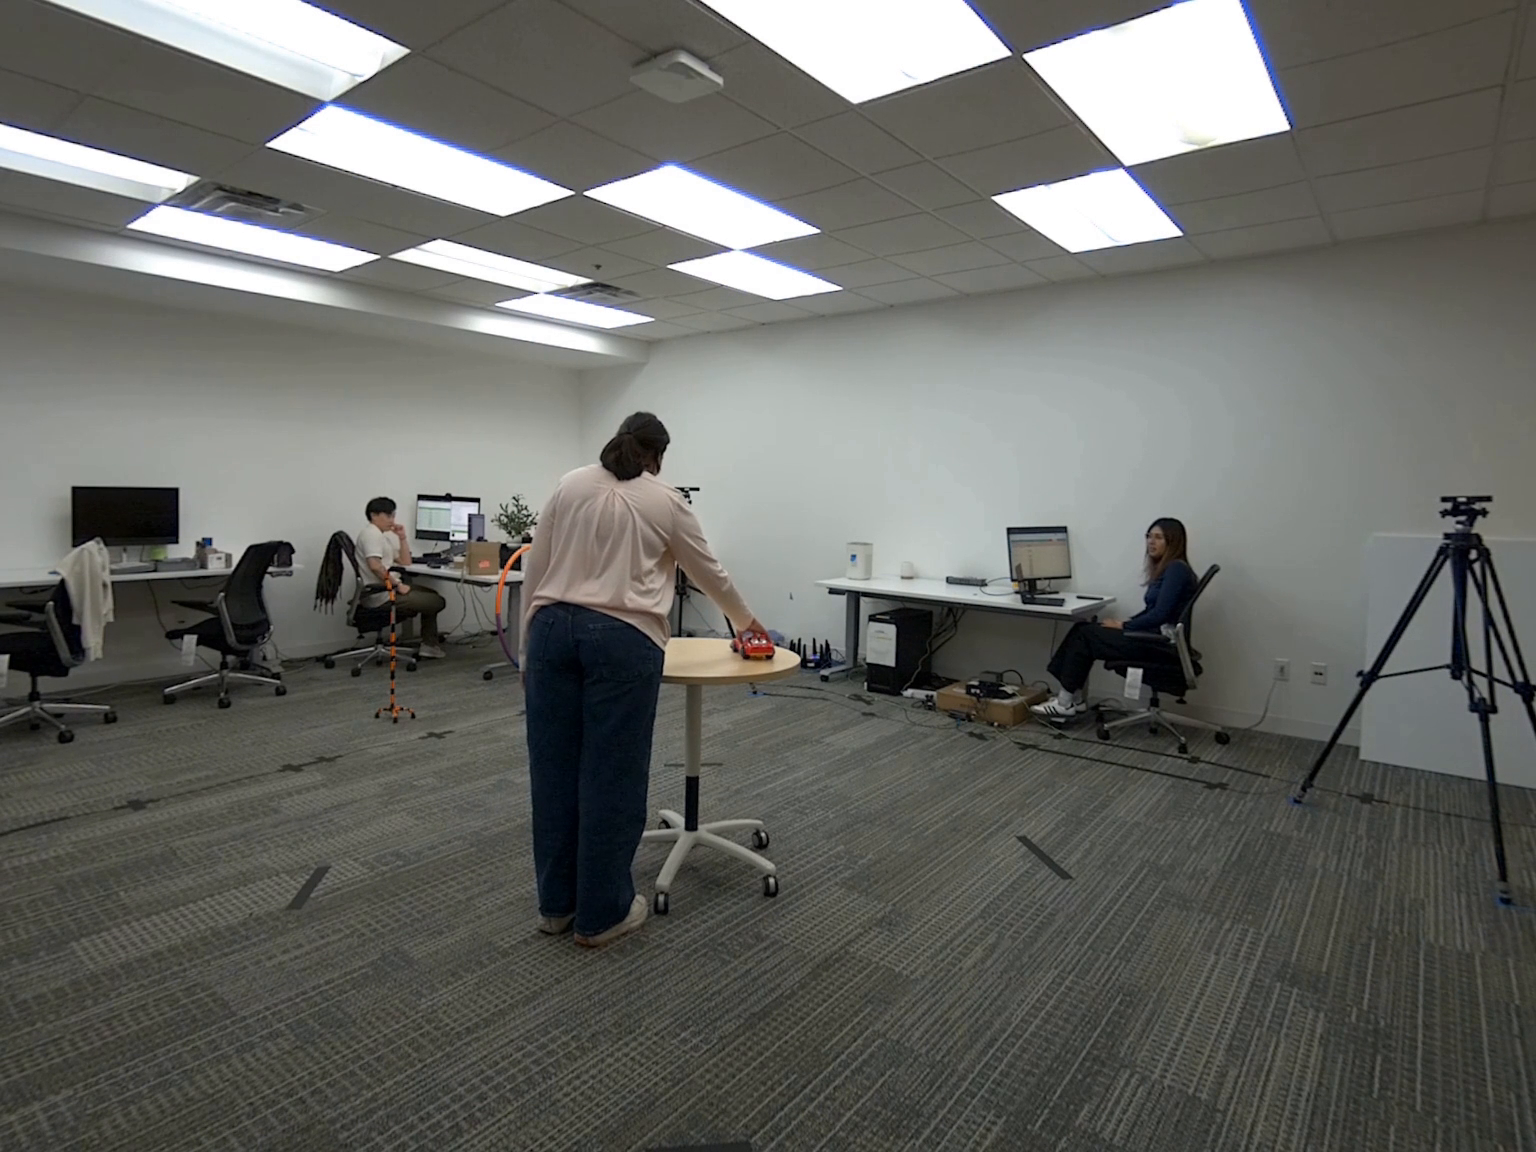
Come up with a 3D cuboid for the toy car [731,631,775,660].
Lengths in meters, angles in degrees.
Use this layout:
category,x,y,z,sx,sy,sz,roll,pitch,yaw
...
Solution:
category,x,y,z,sx,sy,sz,roll,pitch,yaw
toy car,-0.061,0.257,3.095,0.128,0.084,0.257,0,-6,-16
